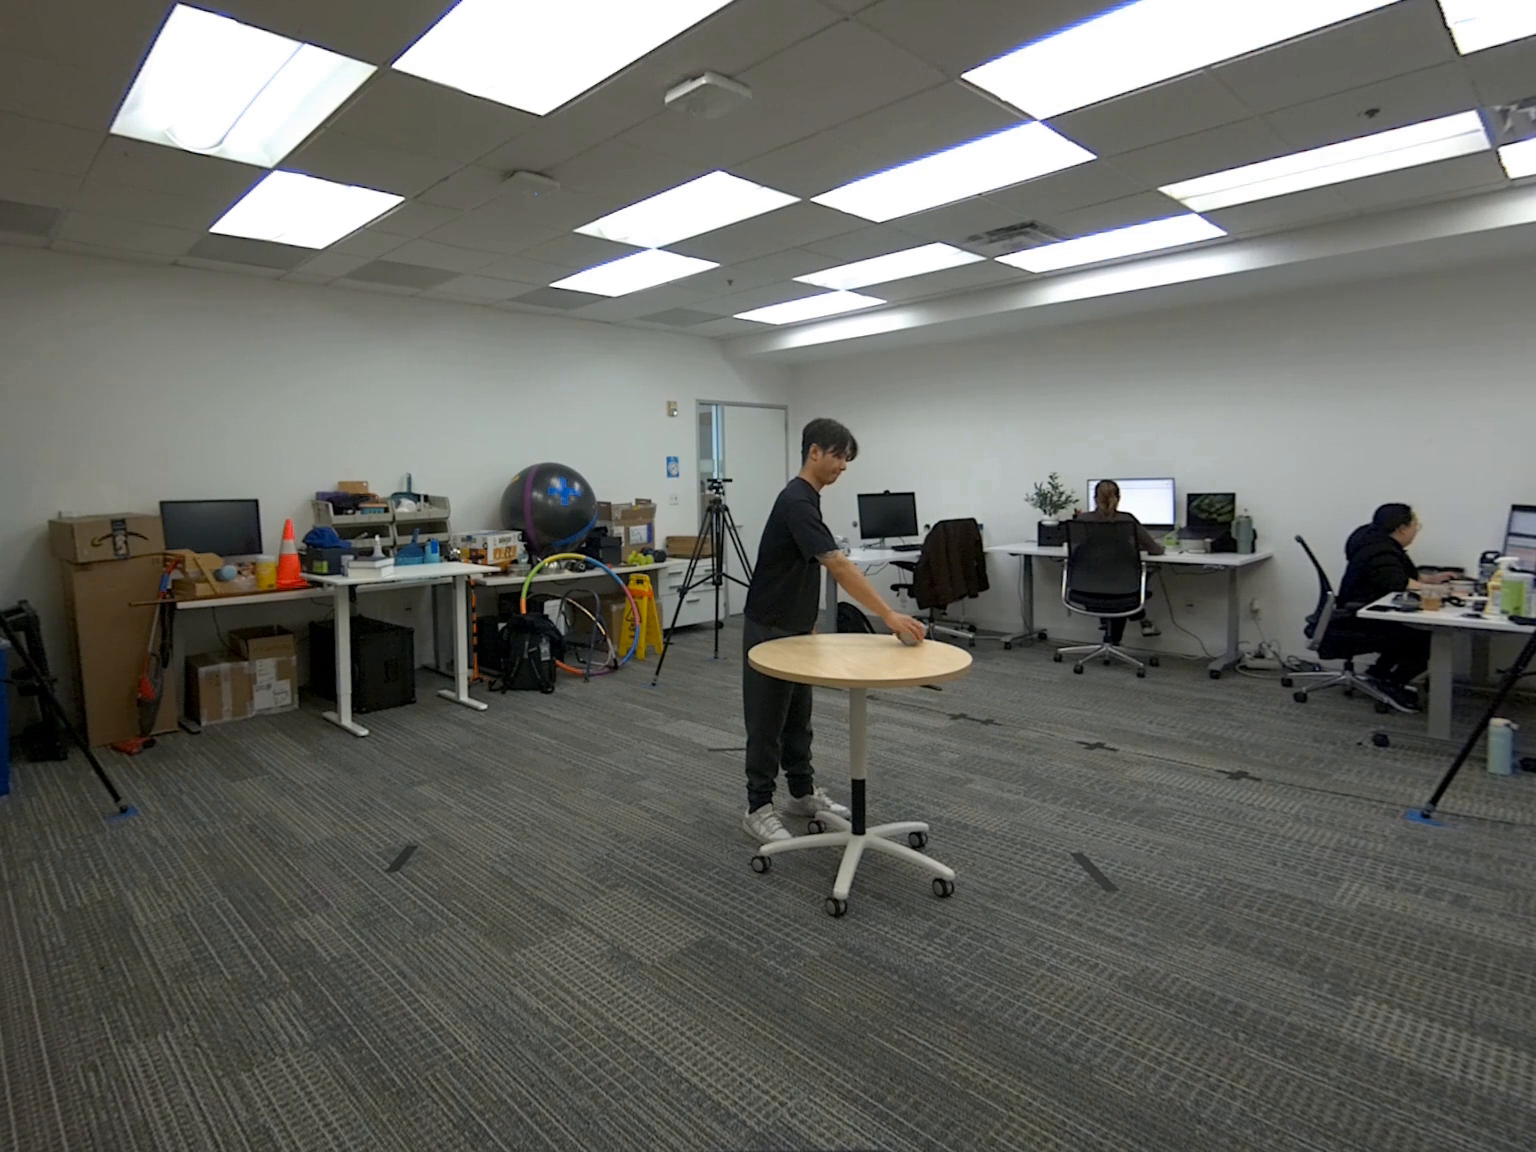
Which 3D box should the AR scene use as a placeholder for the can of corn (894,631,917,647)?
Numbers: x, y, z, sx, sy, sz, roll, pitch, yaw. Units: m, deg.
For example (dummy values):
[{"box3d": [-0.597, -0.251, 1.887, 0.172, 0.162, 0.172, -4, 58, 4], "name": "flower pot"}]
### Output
[{"box3d": [0.545, 0.207, 3.152, 0.076, 0.074, 0.109, 1, 5, 24], "name": "can of corn"}]
